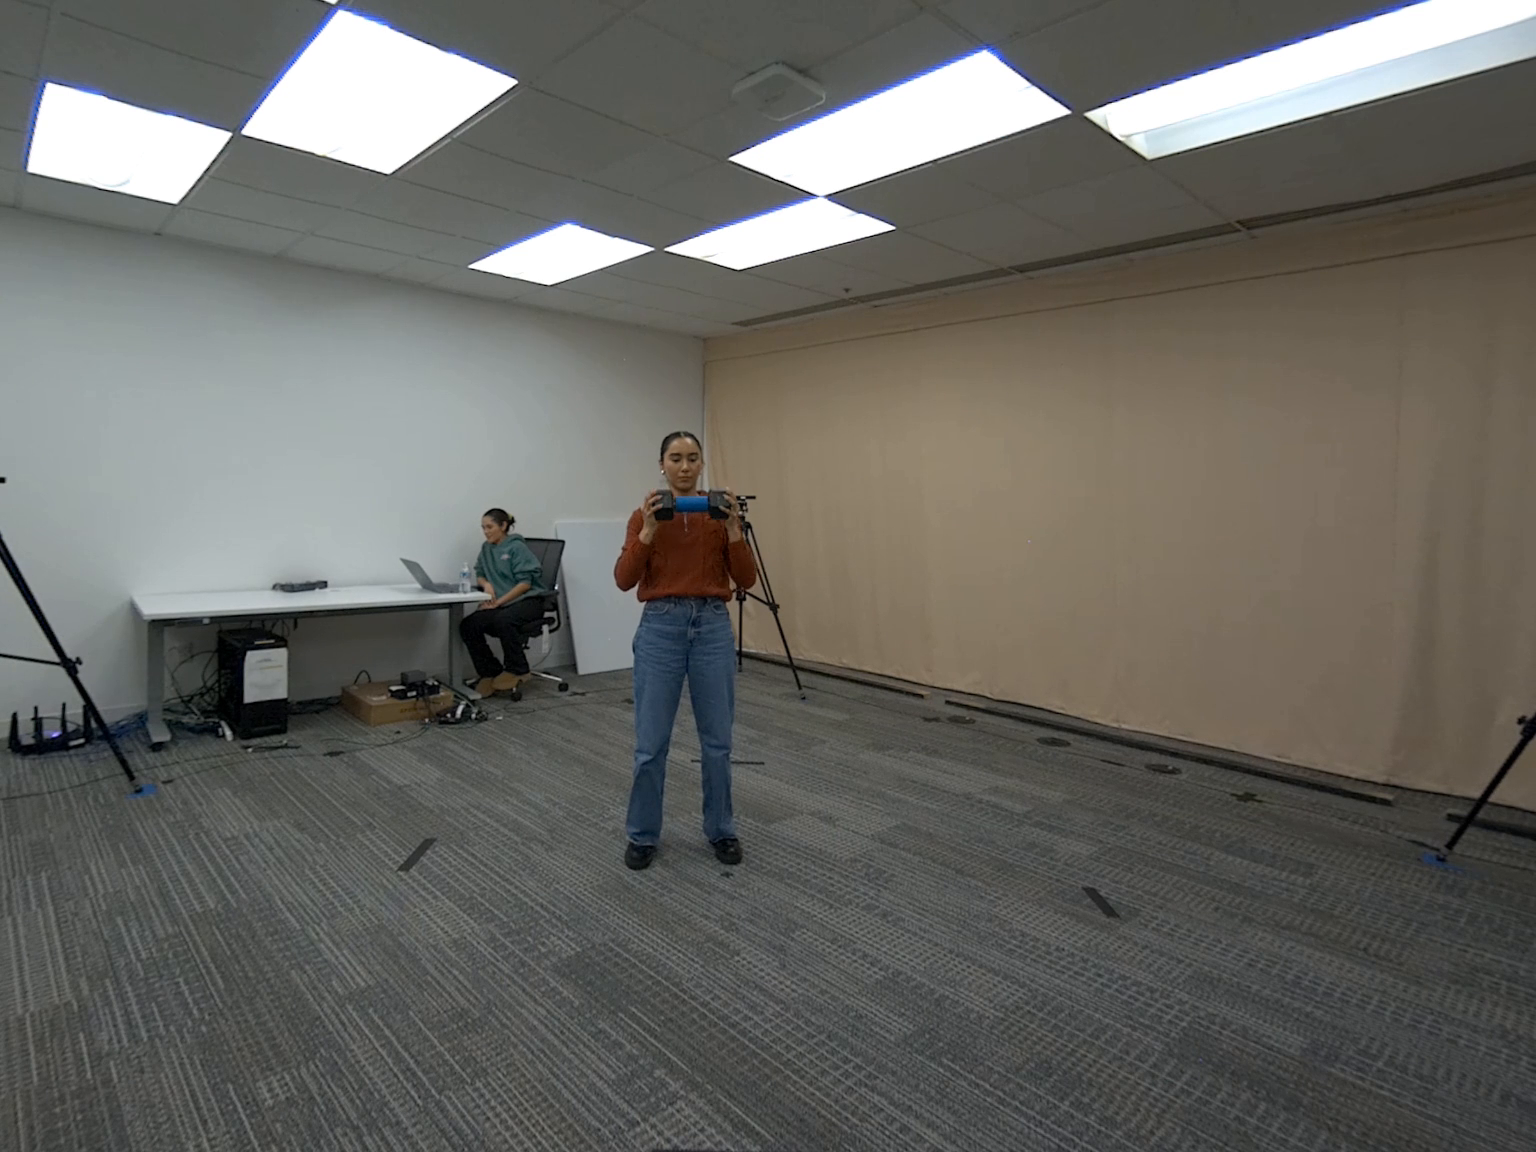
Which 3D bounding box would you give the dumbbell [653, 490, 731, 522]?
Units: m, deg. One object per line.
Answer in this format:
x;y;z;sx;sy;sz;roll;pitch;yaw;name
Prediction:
-0.296;-0.275;3.131;0.291;0.125;0.108;-1;-20;-10;dumbbell
